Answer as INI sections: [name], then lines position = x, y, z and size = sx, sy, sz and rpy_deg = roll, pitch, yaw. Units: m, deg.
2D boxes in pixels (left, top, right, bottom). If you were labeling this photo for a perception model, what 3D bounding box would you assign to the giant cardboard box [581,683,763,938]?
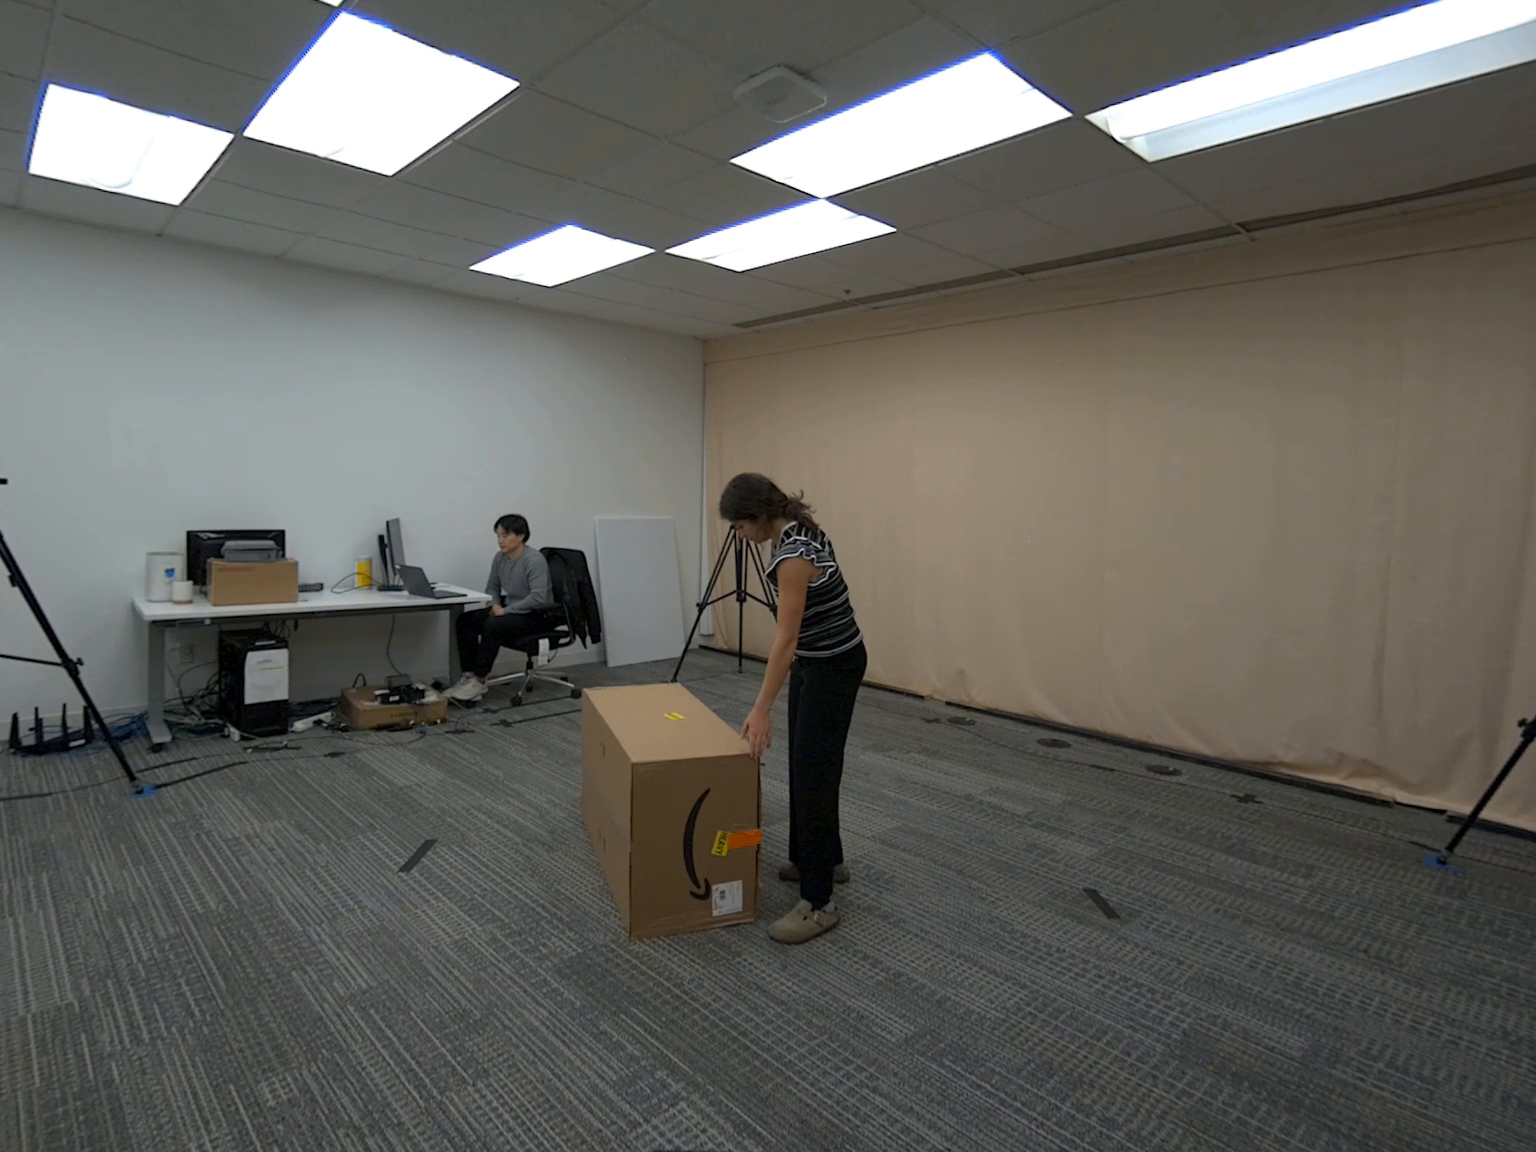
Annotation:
[giant cardboard box]
position = -0.421, 0.809, 3.166
size = 0.420, 0.576, 1.044
rpy_deg = 0, 5, -20
